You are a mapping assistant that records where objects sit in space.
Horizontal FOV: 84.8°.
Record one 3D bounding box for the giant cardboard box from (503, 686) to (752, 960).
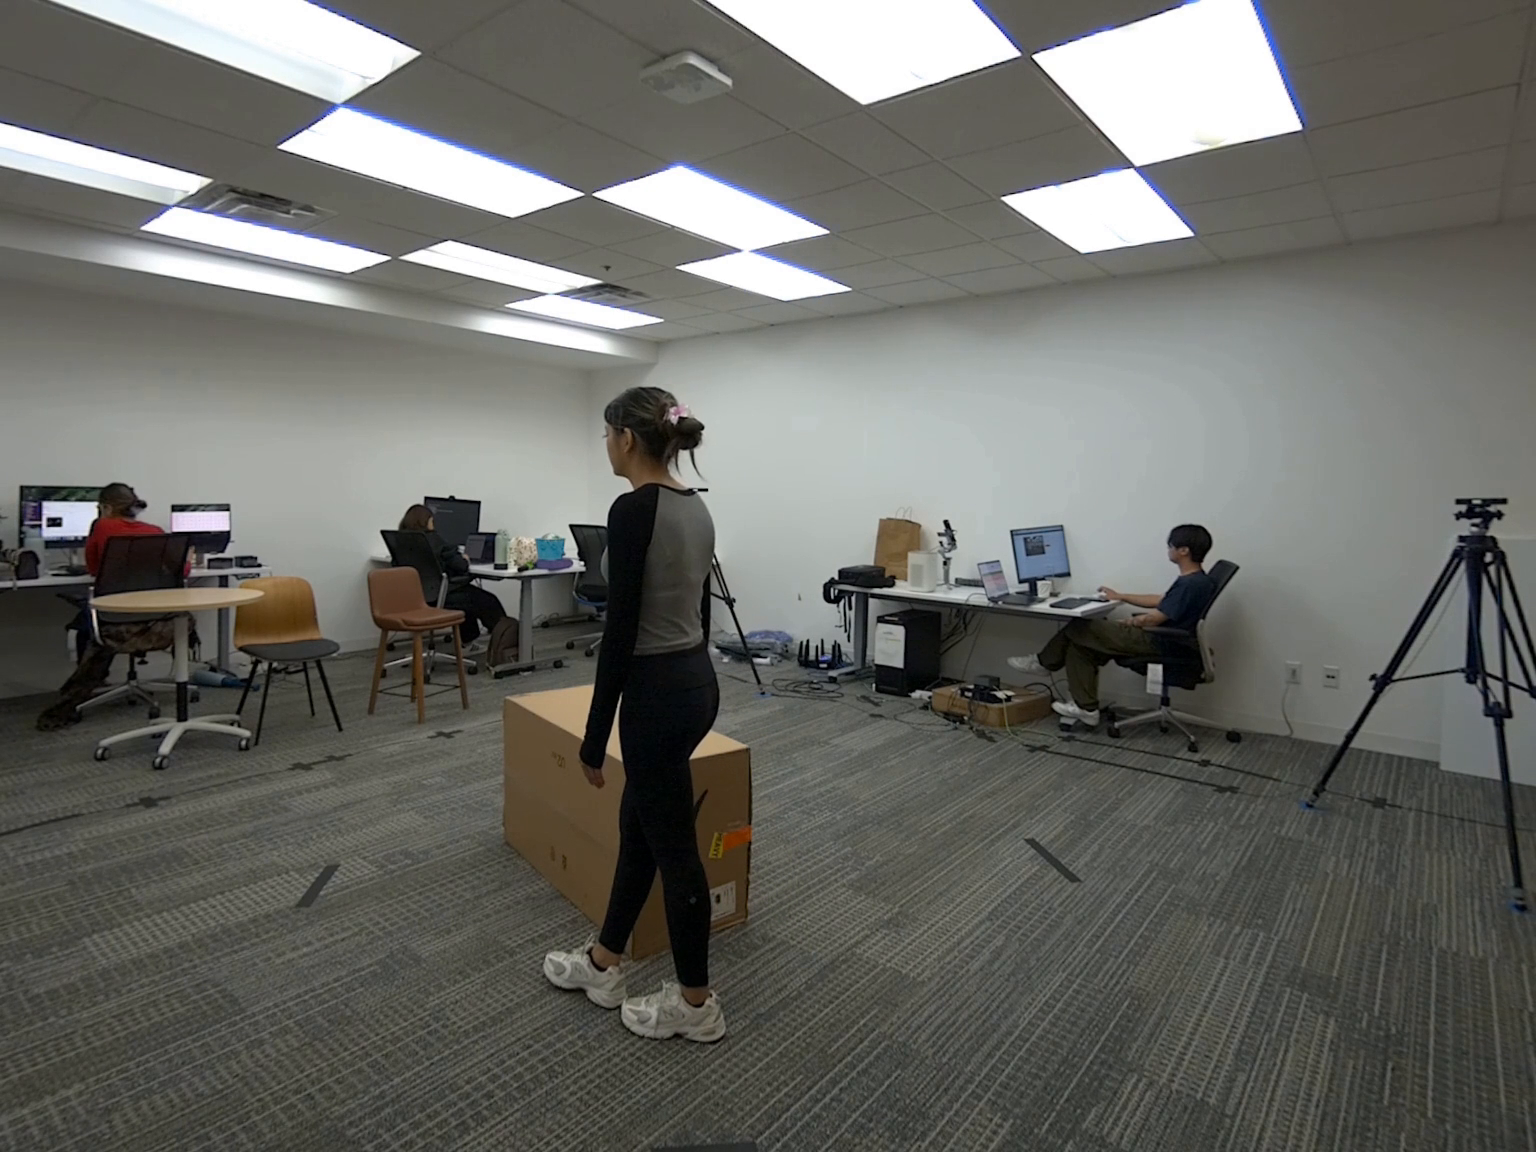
[{"bbox_3d":[-0.547,0.787,3.012,0.414,0.575,1.061,-2,6,-38],"label":"giant cardboard box"}]
